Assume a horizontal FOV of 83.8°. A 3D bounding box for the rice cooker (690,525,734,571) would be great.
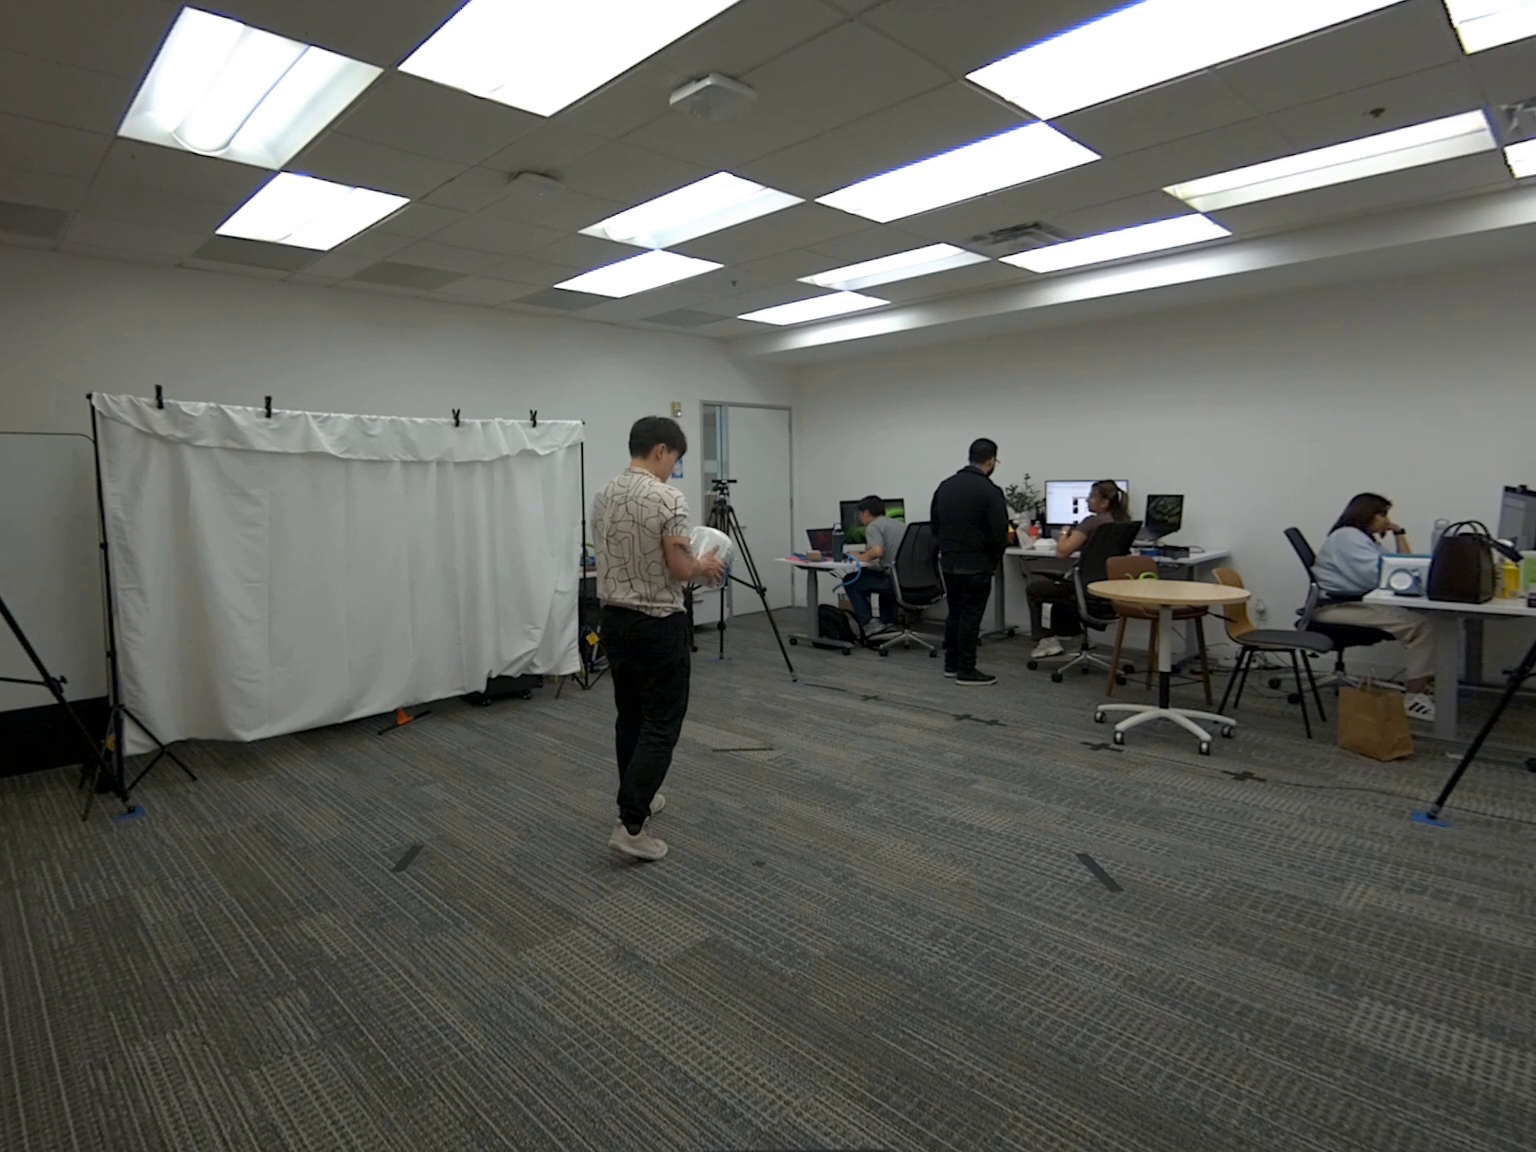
[{"bbox_3d":[-0.262,-0.088,3.583,0.227,0.234,0.210,16,-19,26],"label":"rice cooker"}]
